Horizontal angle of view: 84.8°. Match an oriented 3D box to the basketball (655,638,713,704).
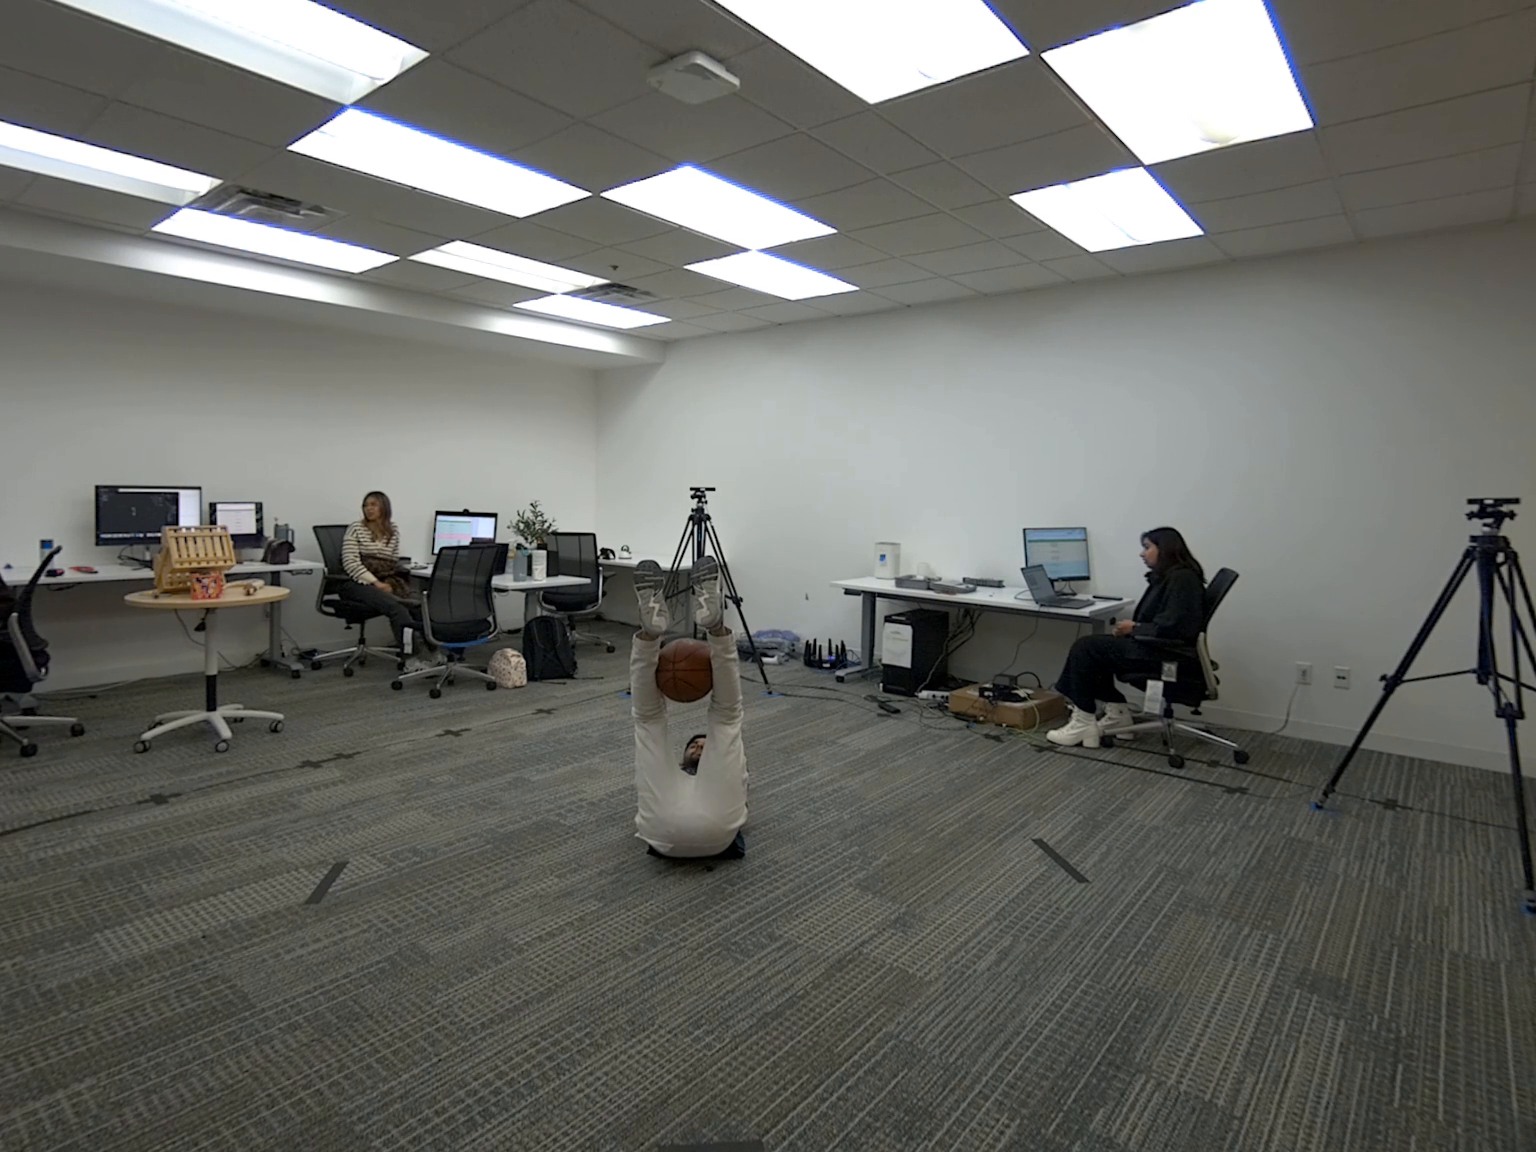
[{"bbox_3d":[-0.319,0.354,3.193,0.235,0.235,0.237,1,4,-2],"label":"basketball"}]
